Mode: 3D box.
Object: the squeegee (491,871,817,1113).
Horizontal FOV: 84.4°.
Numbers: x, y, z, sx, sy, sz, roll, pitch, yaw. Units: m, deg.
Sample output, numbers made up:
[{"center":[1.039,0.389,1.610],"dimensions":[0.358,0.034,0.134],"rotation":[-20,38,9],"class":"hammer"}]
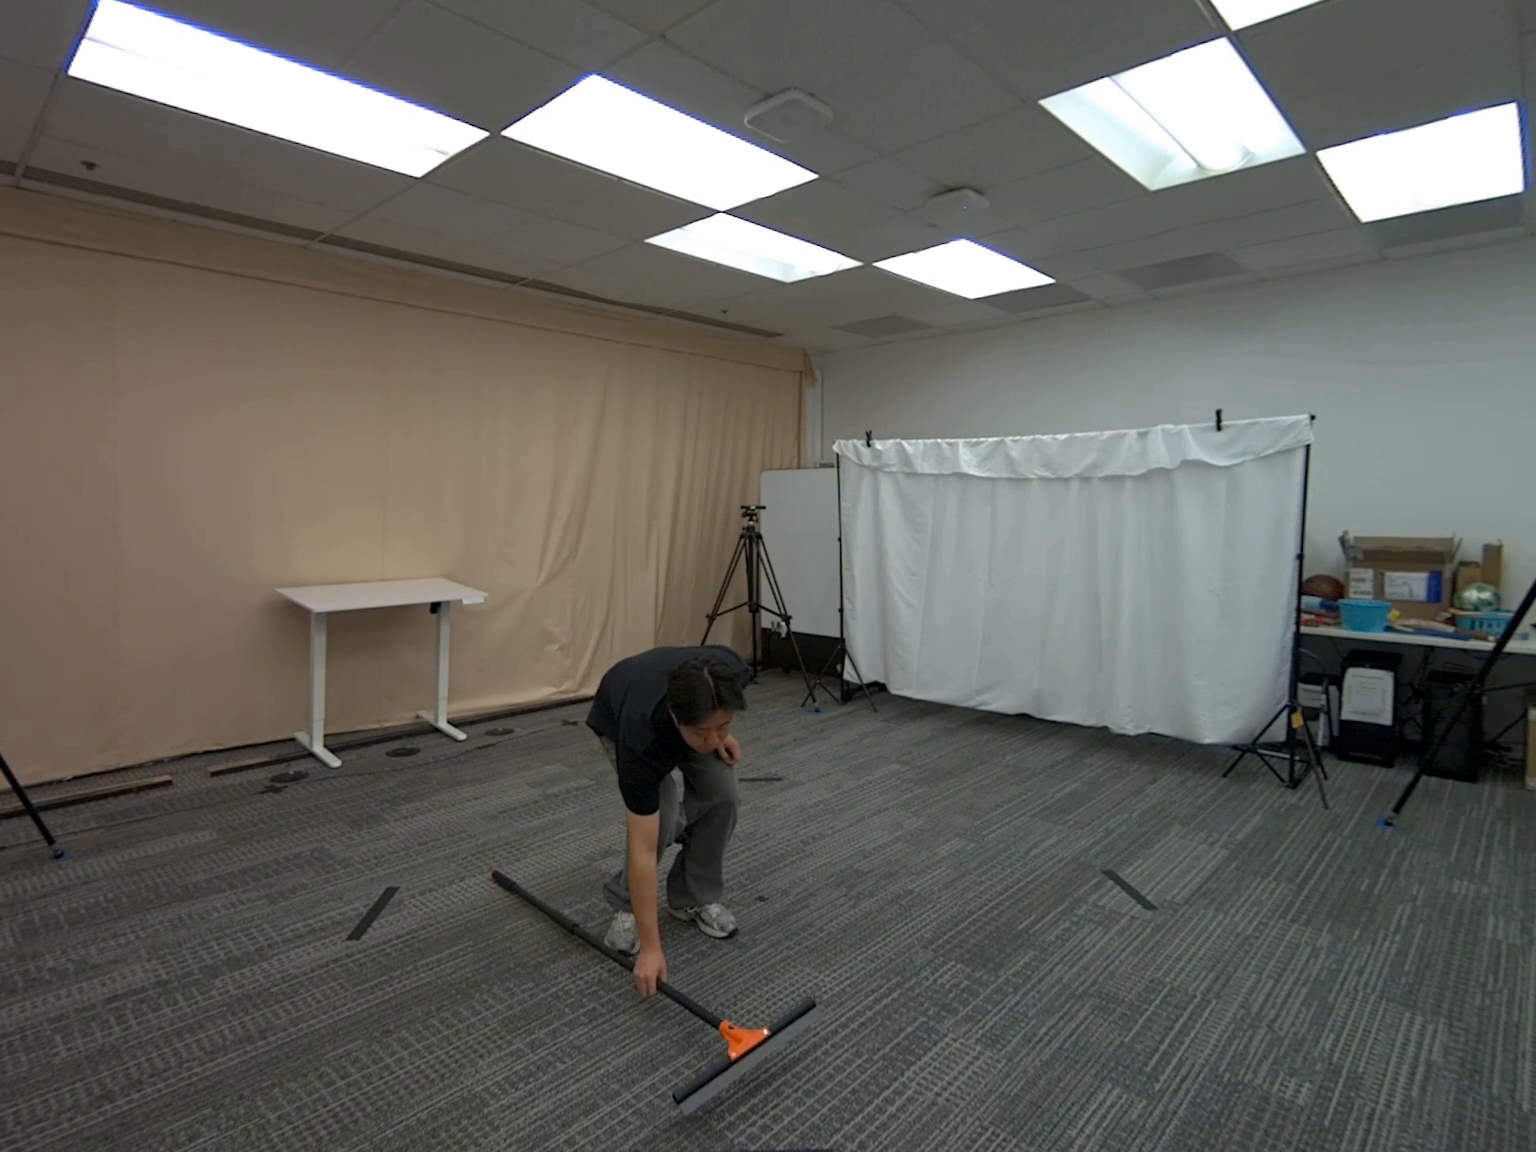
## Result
[{"center":[-0.535,1.108,2.570],"dimensions":[0.426,0.052,1.586],"rotation":[-15,10,-39],"class":"squeegee"}]
